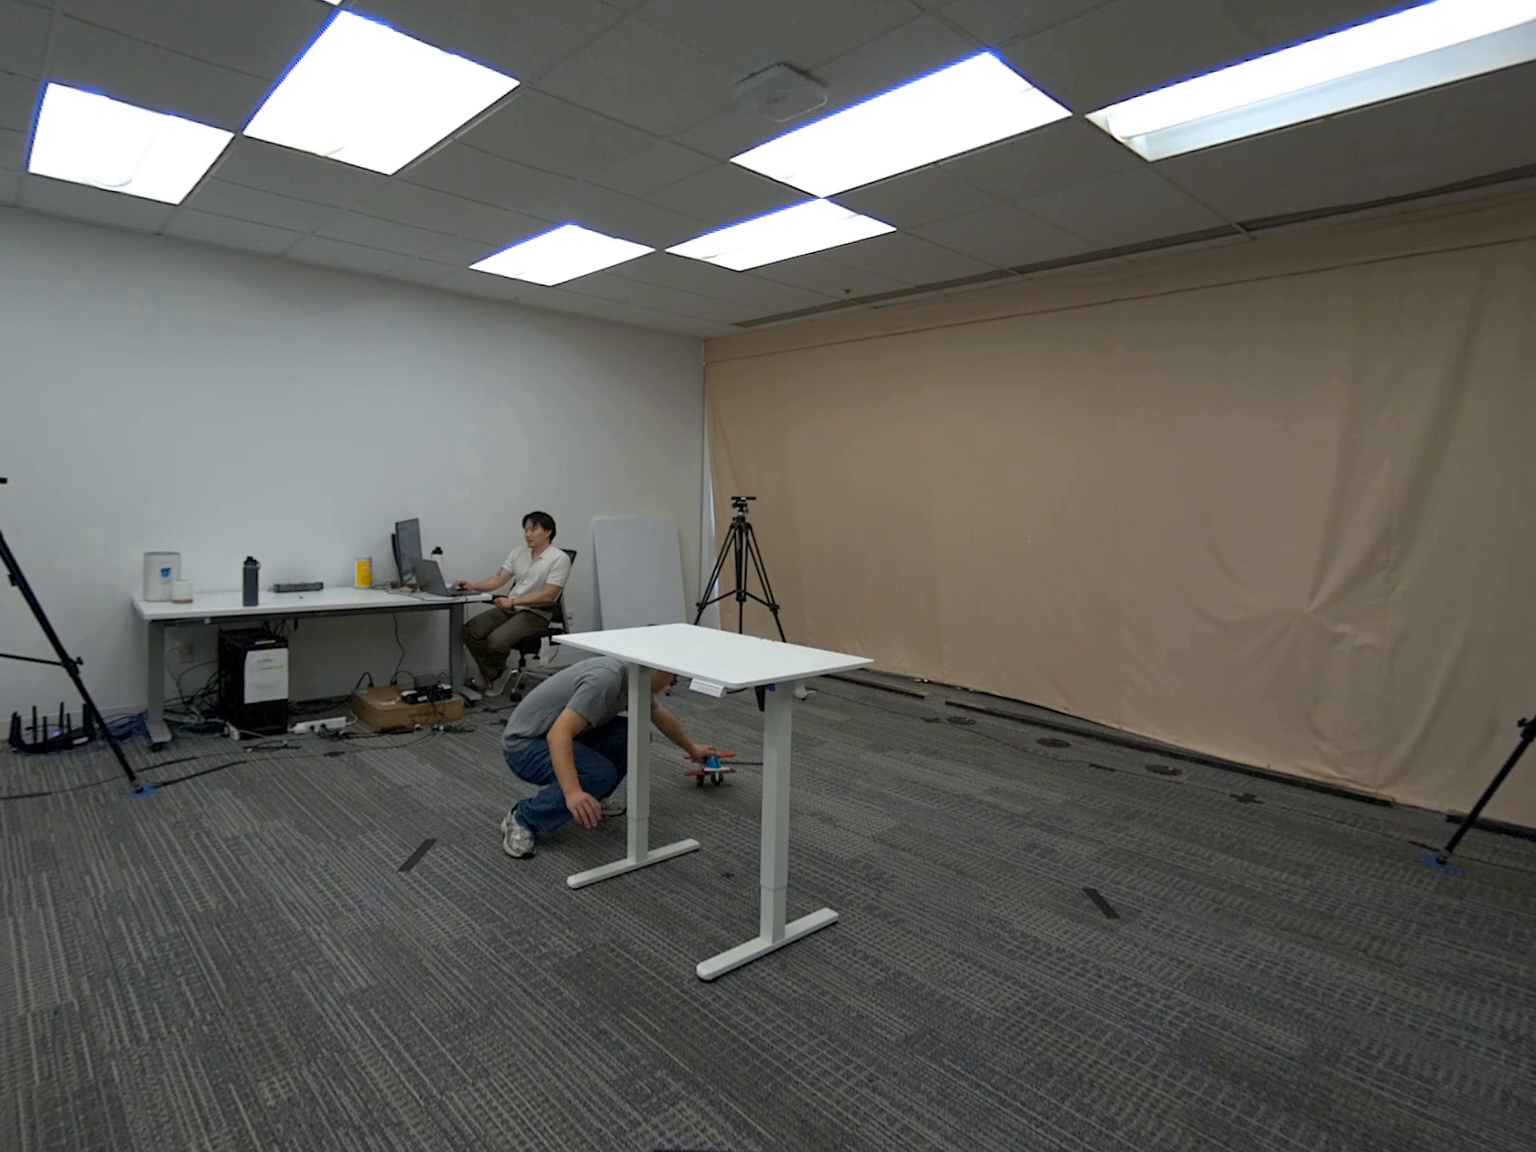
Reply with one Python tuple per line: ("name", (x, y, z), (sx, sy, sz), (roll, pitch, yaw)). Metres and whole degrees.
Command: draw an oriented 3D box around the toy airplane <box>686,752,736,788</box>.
("toy airplane", (-0.254, 0.918, 4.042), (0.244, 0.159, 0.262), (11, -25, -42))
